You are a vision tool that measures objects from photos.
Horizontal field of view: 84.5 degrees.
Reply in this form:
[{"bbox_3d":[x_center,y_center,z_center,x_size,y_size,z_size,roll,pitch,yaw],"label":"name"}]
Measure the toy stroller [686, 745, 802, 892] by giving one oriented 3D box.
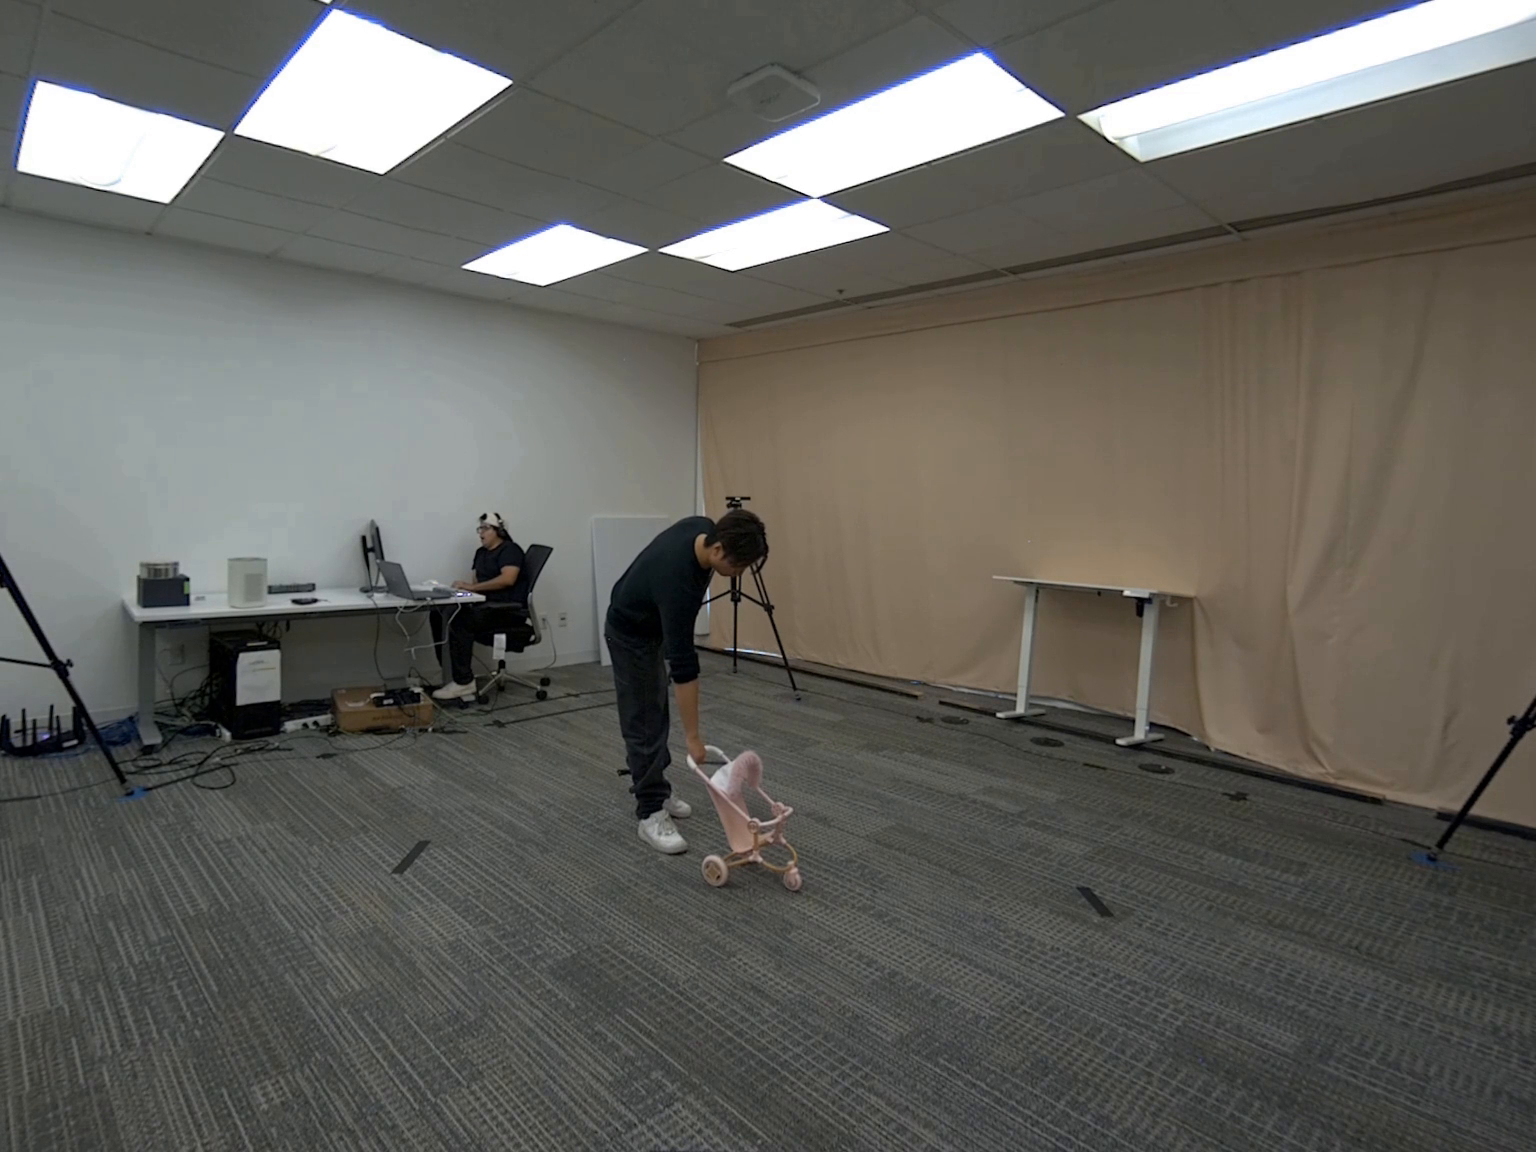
[{"bbox_3d":[-0.079,0.883,3.080,0.347,0.537,0.276,-15,-6,33],"label":"toy stroller"}]
